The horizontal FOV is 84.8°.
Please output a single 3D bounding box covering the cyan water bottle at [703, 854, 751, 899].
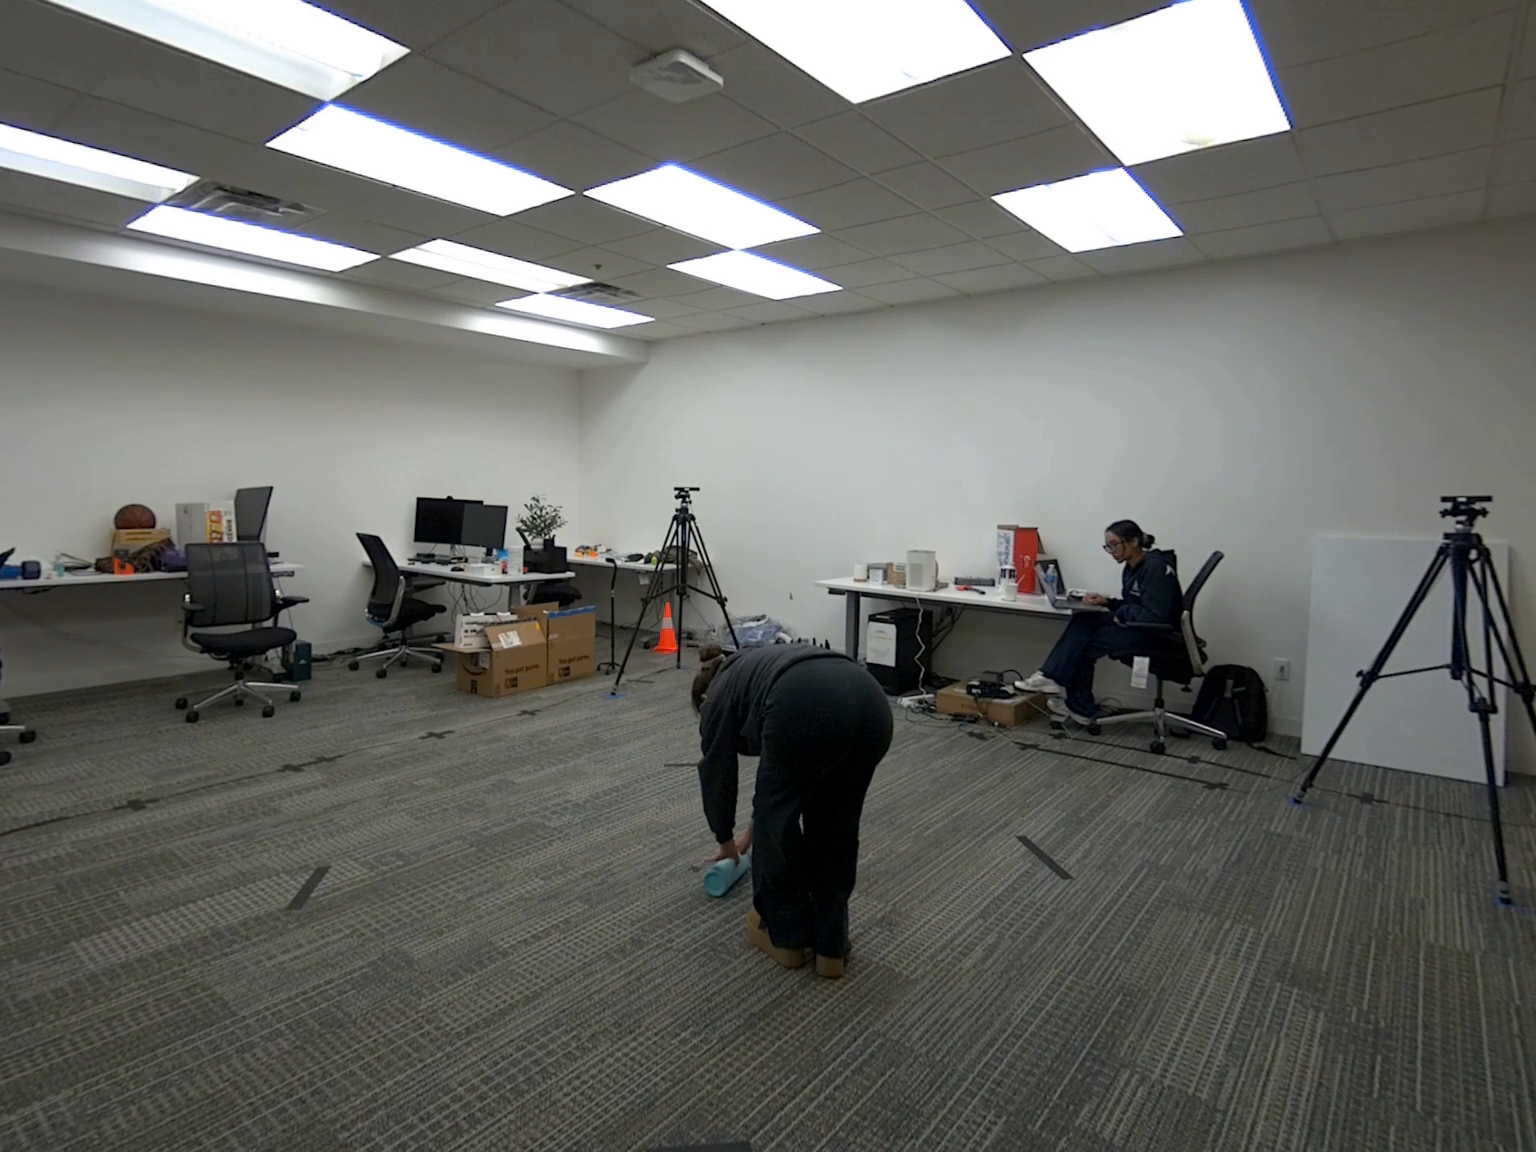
[{"bbox_3d":[-0.132,1.030,3.014,0.094,0.092,0.278,2,5,21],"label":"cyan water bottle"}]
